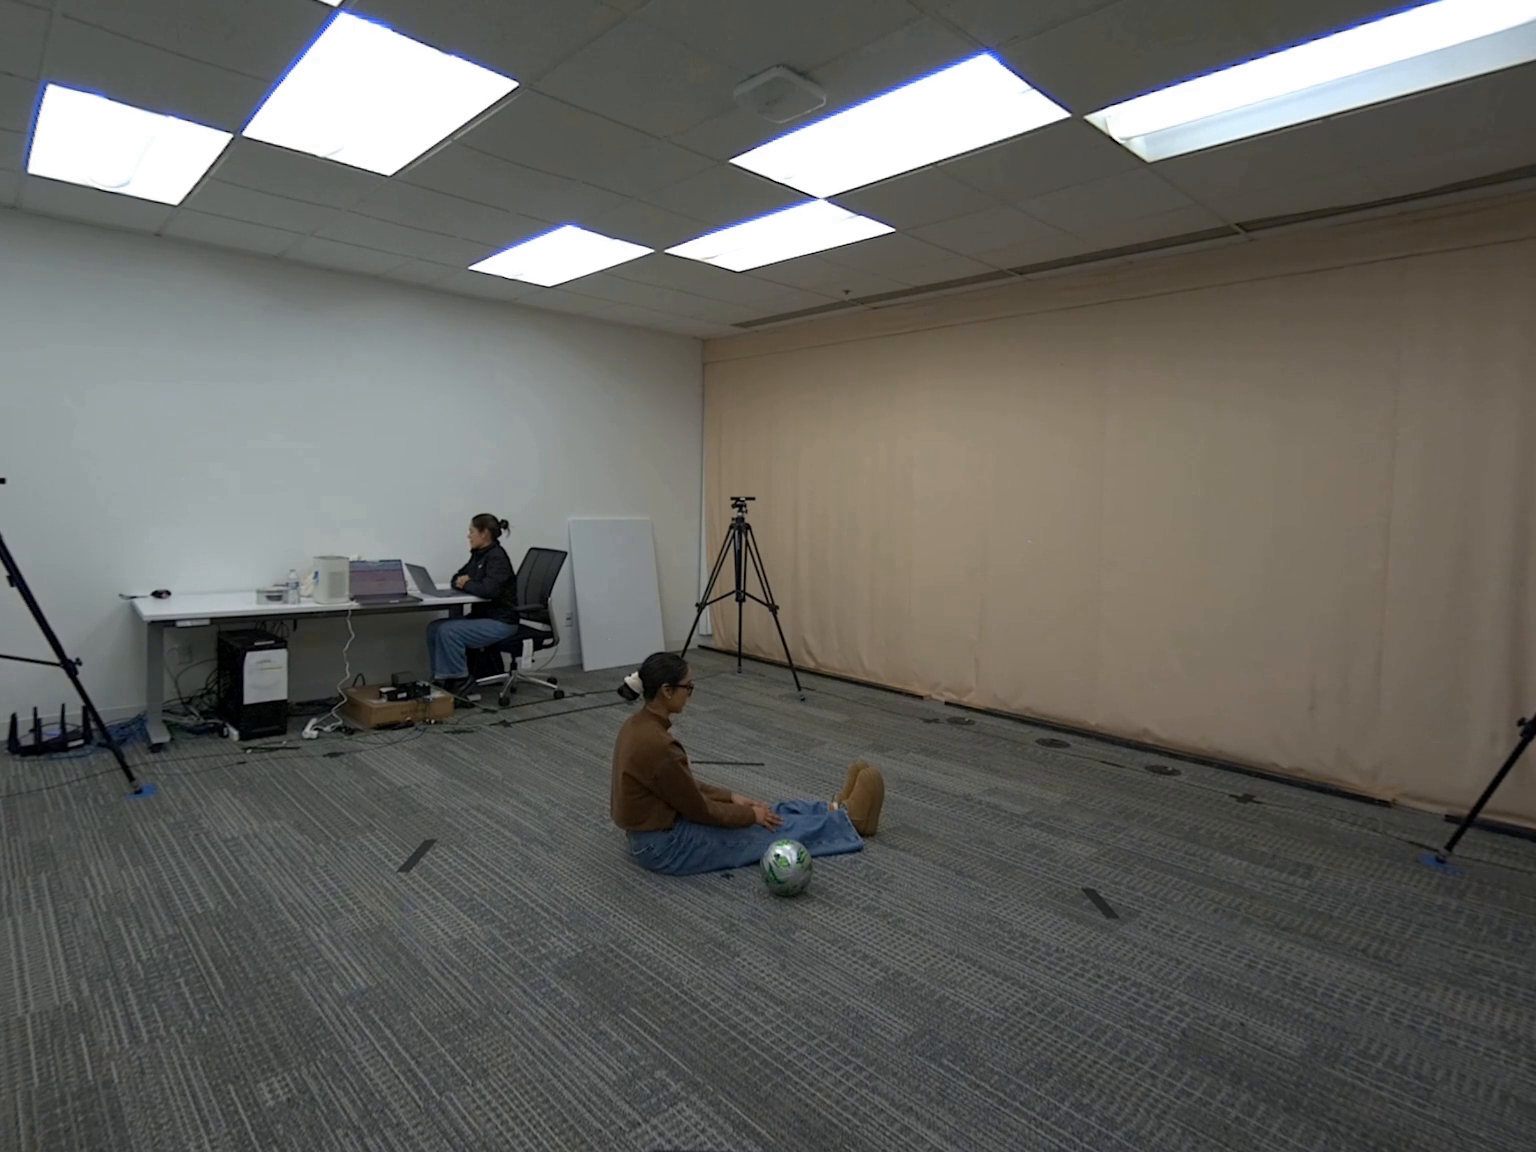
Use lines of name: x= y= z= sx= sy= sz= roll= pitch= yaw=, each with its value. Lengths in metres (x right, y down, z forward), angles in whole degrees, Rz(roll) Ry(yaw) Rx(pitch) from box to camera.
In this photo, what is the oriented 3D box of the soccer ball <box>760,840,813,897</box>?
soccer ball: x=0.062 y=1.033 z=2.972 sx=0.187 sy=0.187 sz=0.188 roll=1 pitch=4 yaw=-1
